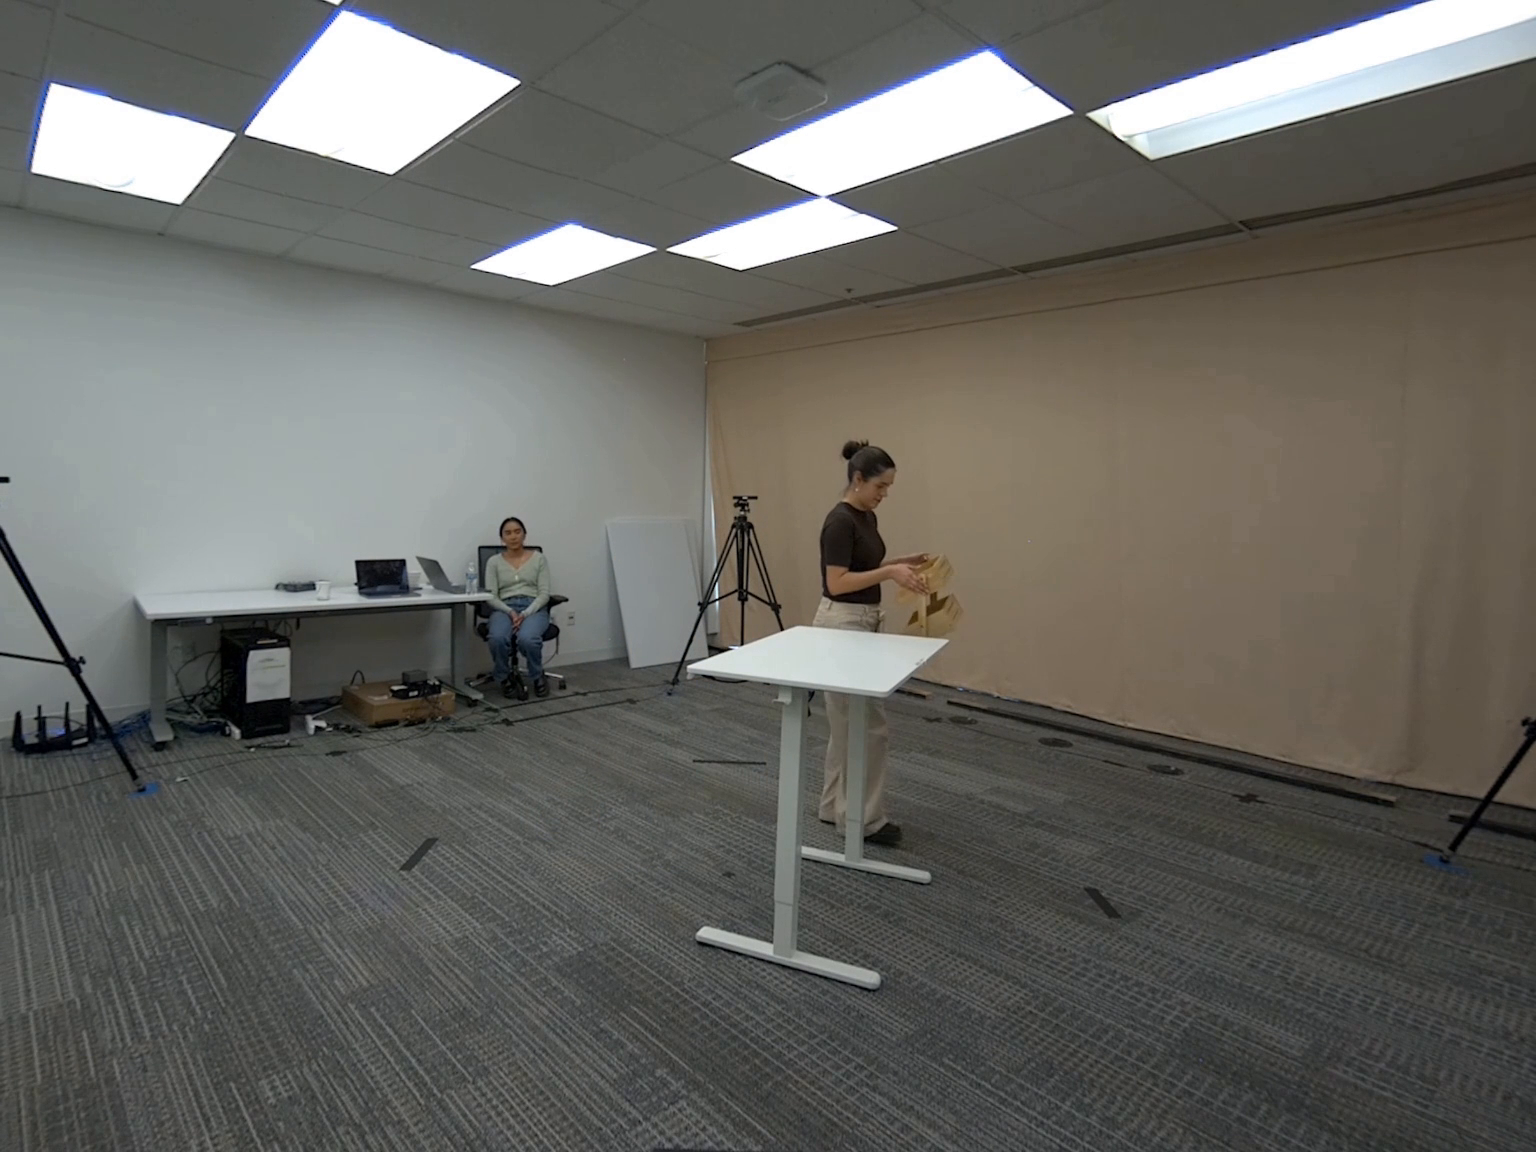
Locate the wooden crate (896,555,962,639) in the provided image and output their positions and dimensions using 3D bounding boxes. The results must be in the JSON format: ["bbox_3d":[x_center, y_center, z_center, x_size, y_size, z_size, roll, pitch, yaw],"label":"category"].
[{"bbox_3d":[0.624,0.111,3.487,0.304,0.273,0.322,-29,0,23],"label":"wooden crate"}]
